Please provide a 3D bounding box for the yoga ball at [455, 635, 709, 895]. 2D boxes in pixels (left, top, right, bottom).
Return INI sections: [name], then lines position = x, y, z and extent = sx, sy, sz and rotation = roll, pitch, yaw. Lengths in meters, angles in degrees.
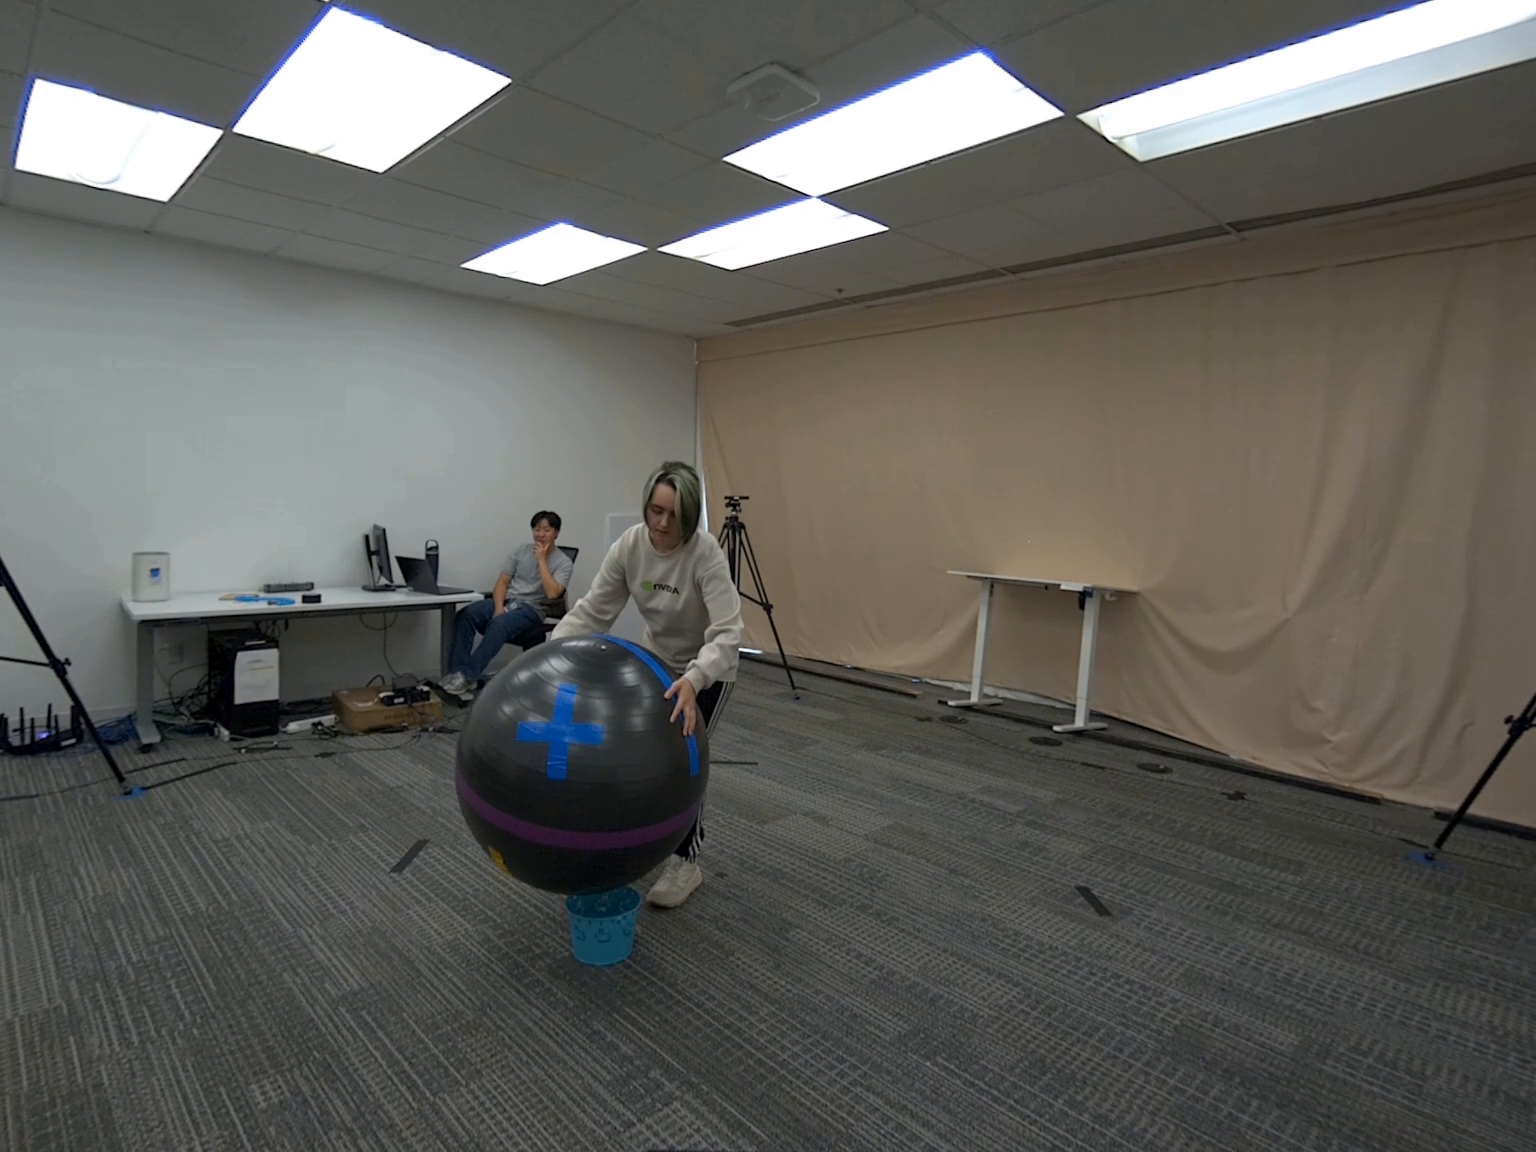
[yoga ball]
position = -0.563, 0.561, 2.547
extent = 0.757, 0.756, 0.761
rotation = 1, 4, -1
